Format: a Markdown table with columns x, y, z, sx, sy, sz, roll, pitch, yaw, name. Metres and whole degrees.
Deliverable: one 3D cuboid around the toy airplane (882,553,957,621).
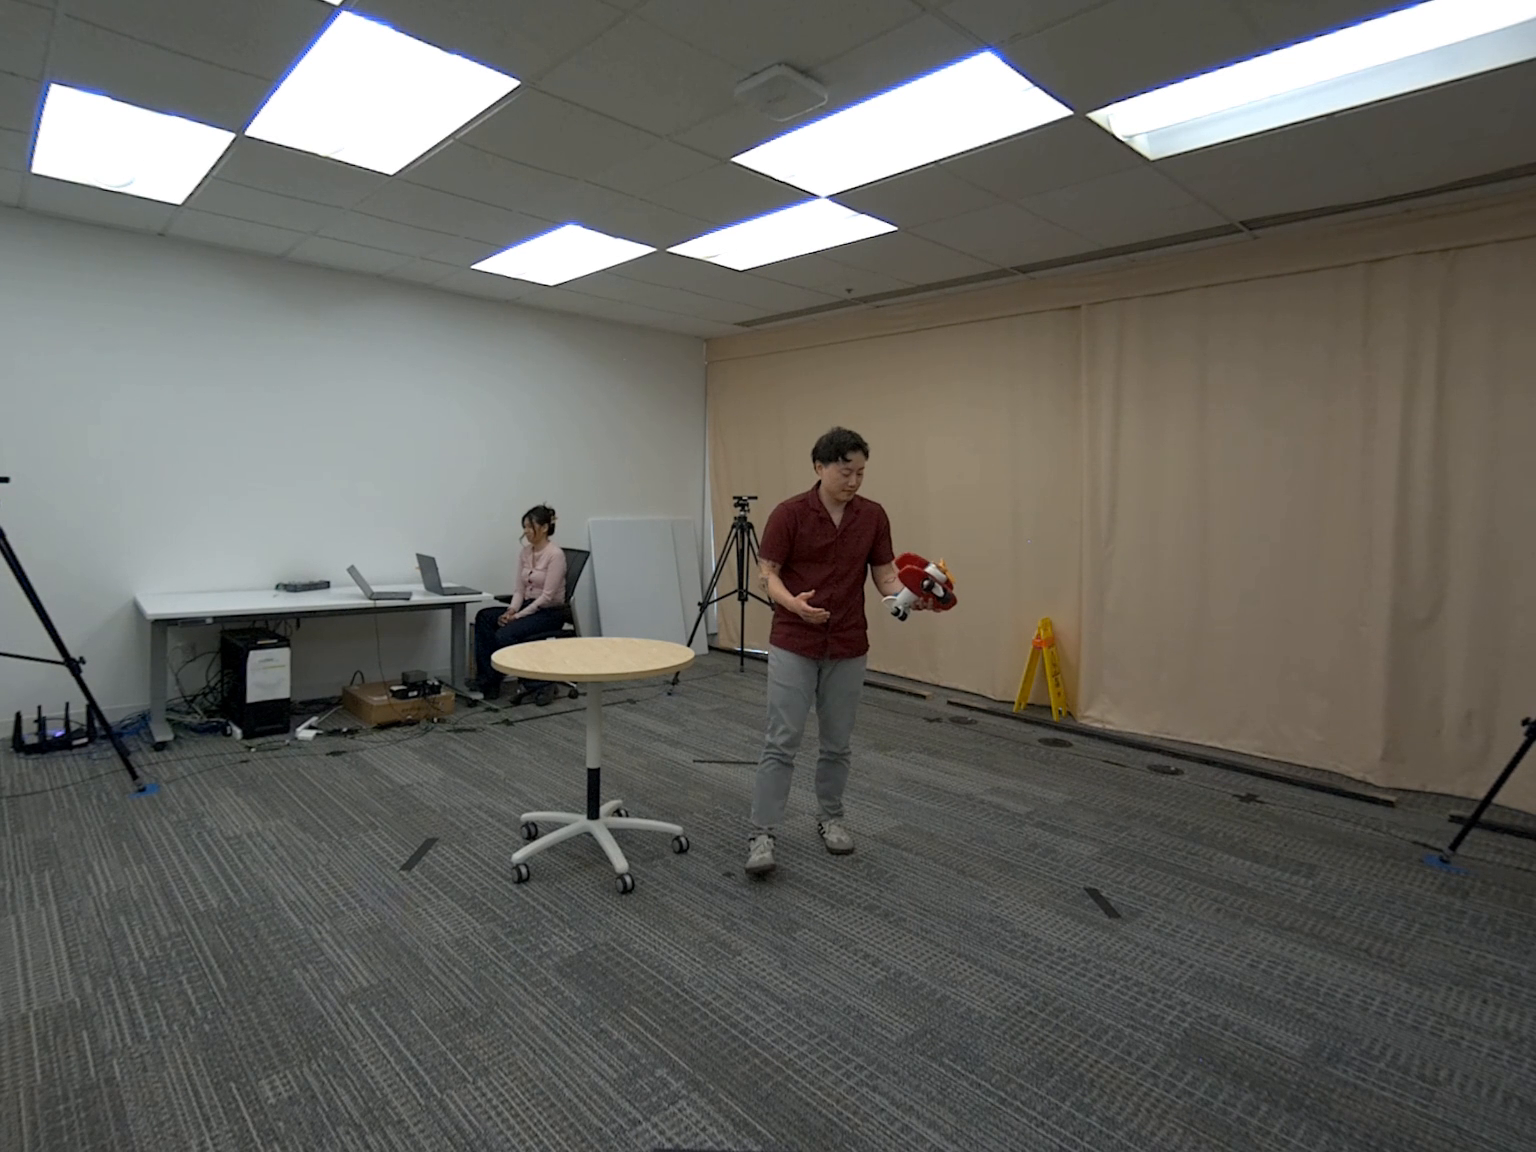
| x | y | z | sx | sy | sz | roll | pitch | yaw | name |
| --- | --- | --- | --- | --- | --- | --- | --- | --- | --- |
| 0.513 | 0.042 | 2.999 | 0.263 | 0.243 | 0.159 | -10 | 43 | 26 | toy airplane |
